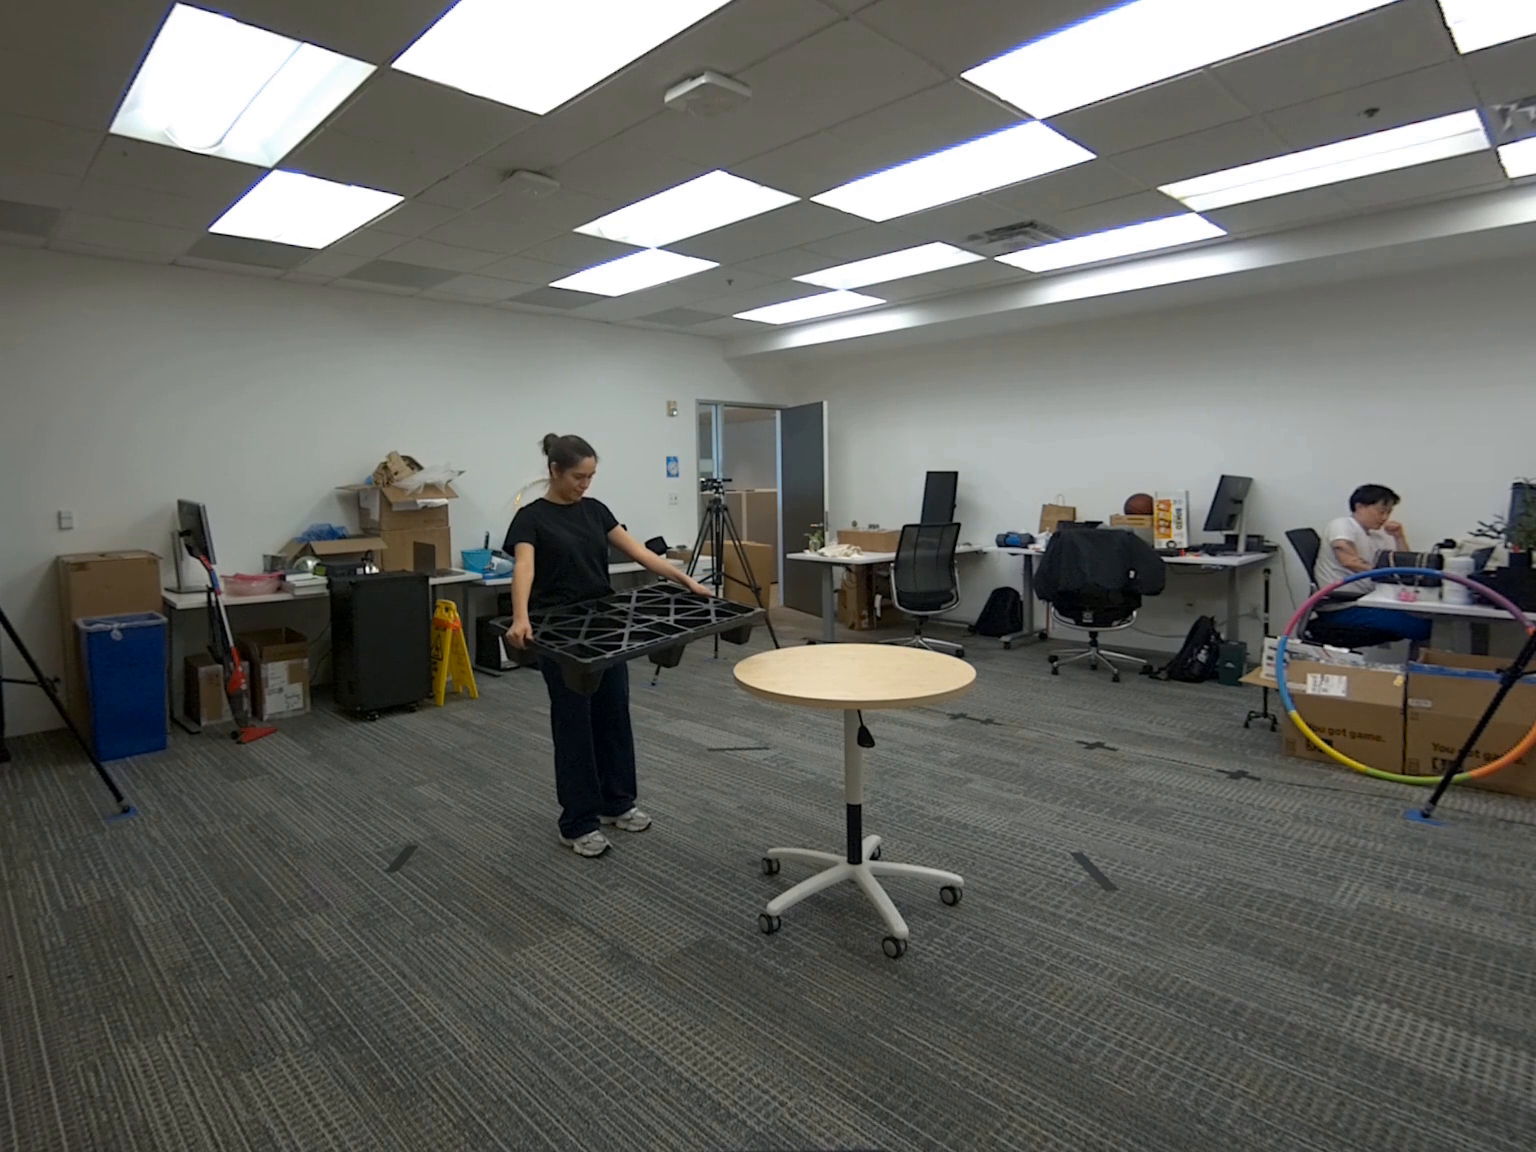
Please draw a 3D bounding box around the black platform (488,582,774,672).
[{"bbox_3d":[-0.499,0.200,3.063,0.787,0.142,0.626,-13,19,-43],"label":"black platform"}]
